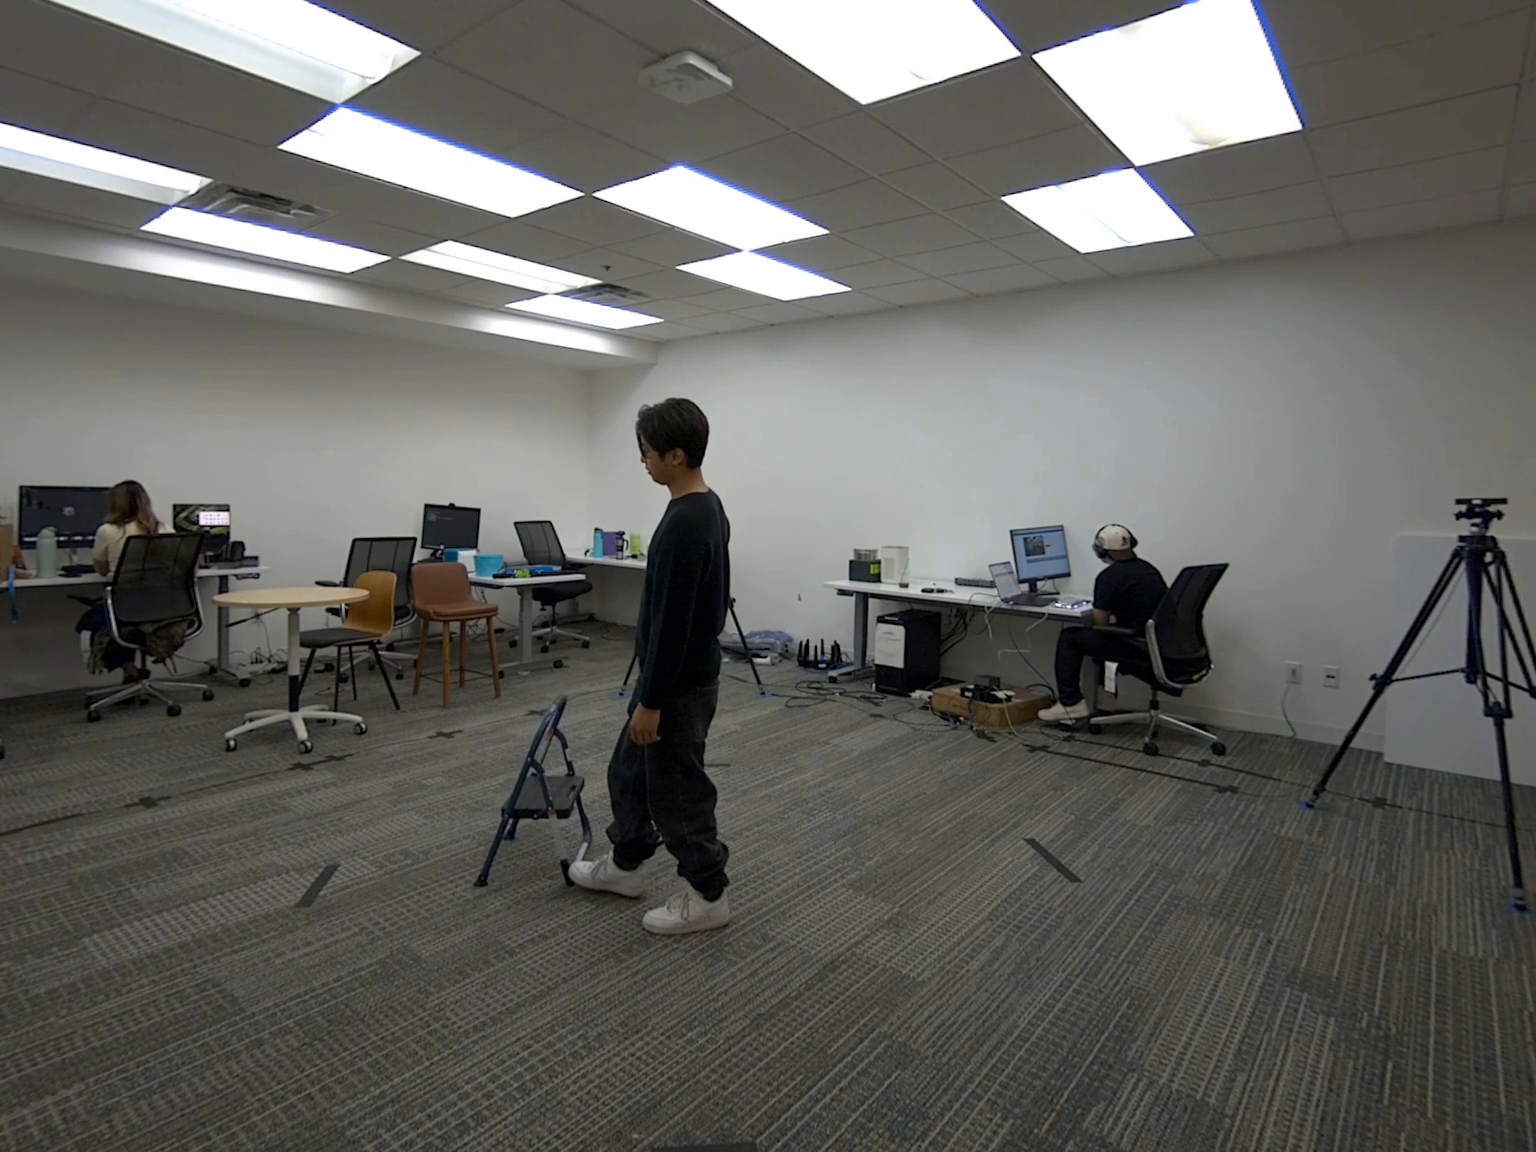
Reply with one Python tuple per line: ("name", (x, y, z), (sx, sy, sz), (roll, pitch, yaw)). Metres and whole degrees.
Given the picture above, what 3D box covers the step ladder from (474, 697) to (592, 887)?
("step ladder", (-0.865, 0.755, 3.141), (0.349, 0.604, 0.433), (1, 4, -2))
